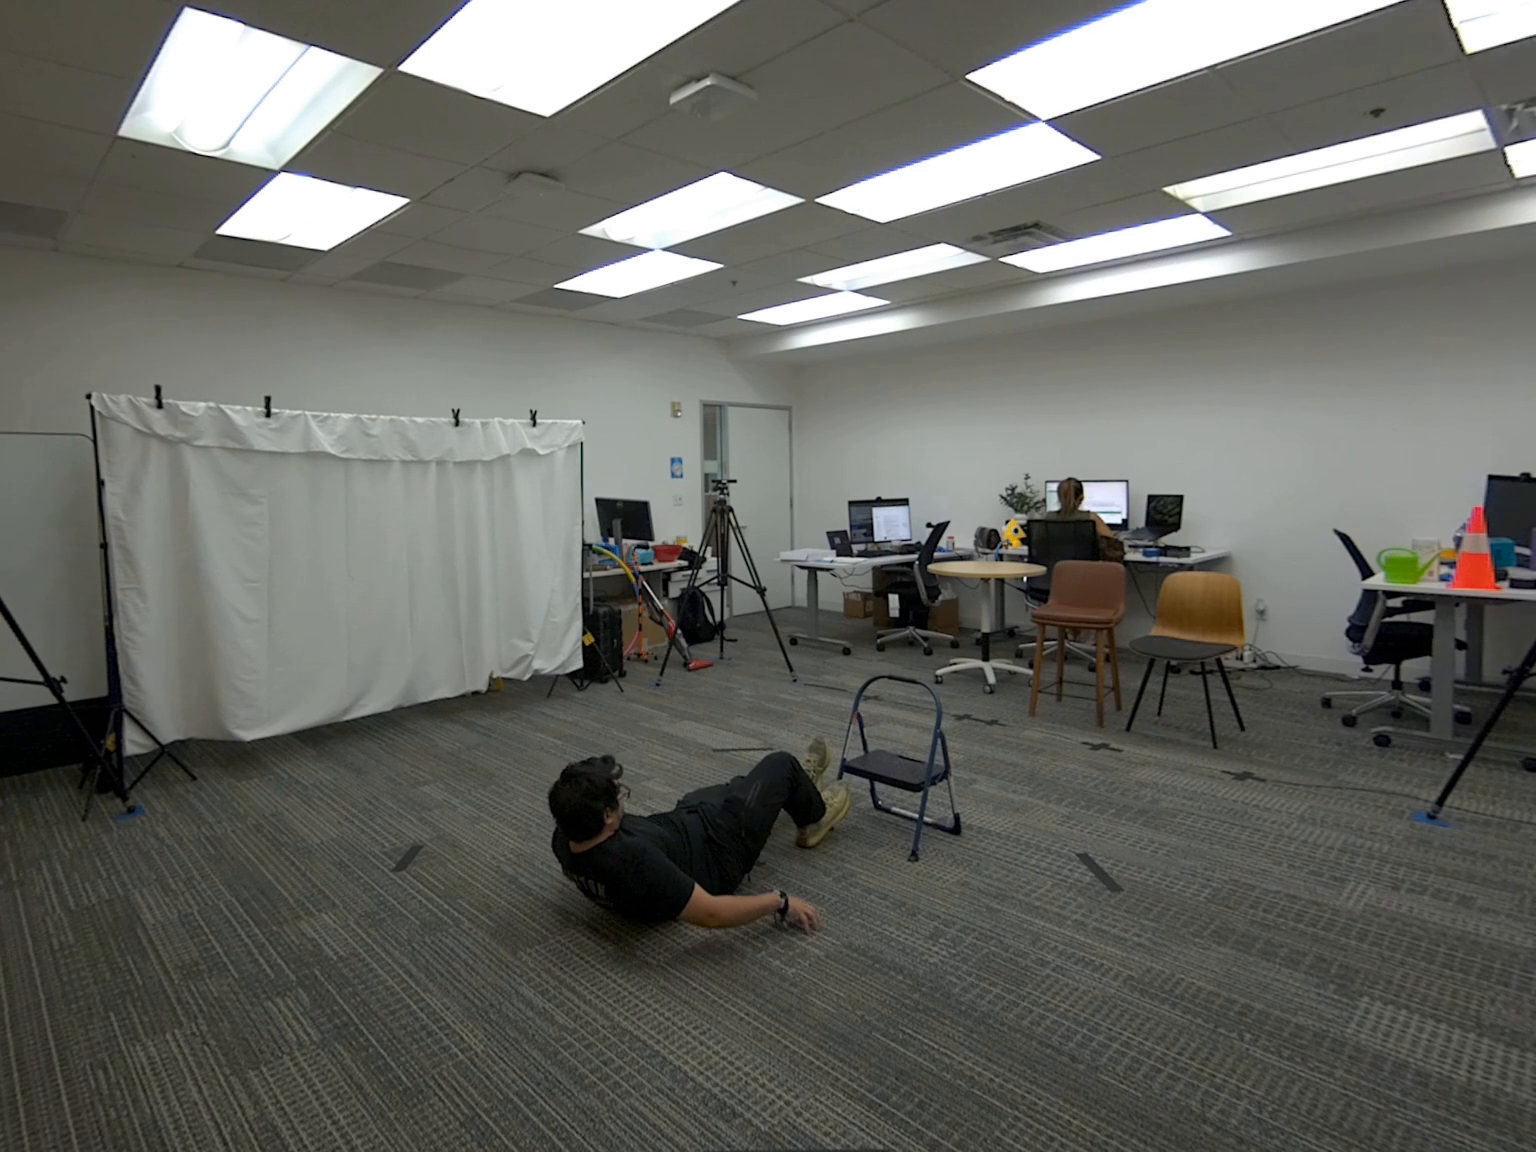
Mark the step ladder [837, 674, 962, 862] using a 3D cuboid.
[{"bbox_3d":[0.493,0.707,3.352,0.444,0.604,0.340,4,6,45],"label":"step ladder"}]
